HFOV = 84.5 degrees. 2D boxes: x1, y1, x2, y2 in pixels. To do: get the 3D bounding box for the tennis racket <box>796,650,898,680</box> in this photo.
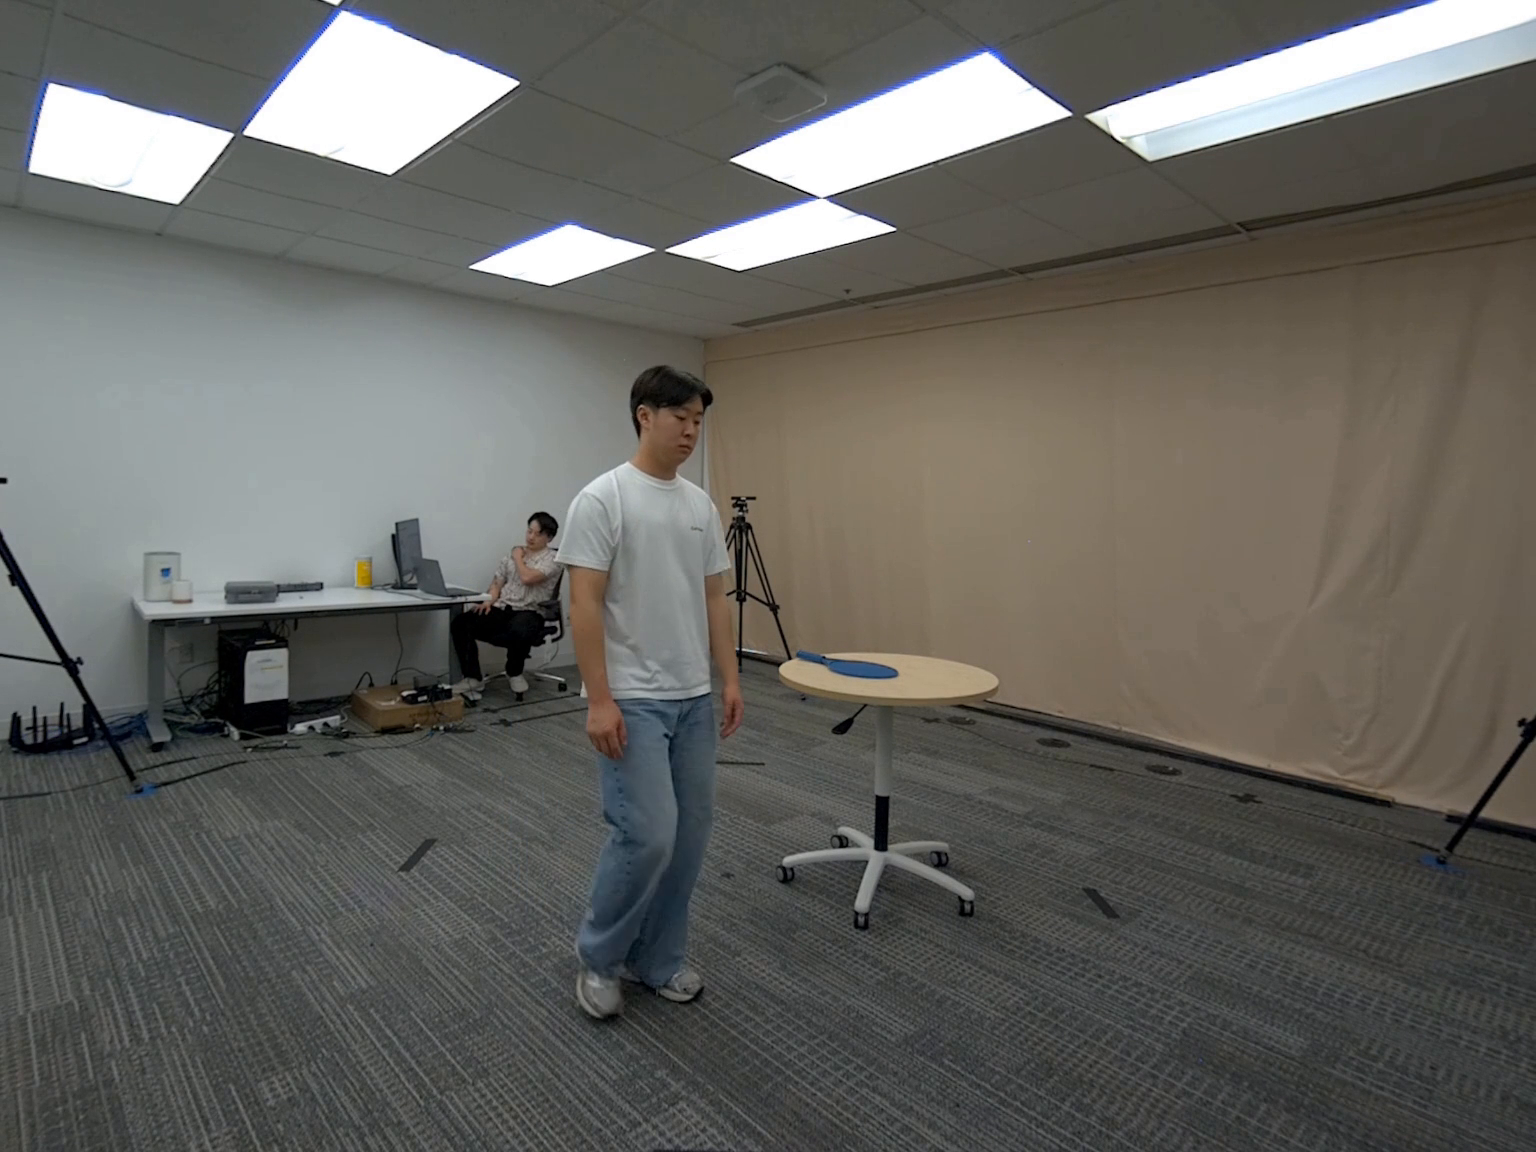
[{"bbox_3d":[0.275,0.327,3.076,0.209,0.031,0.444,-4,9,-44],"label":"tennis racket"}]
